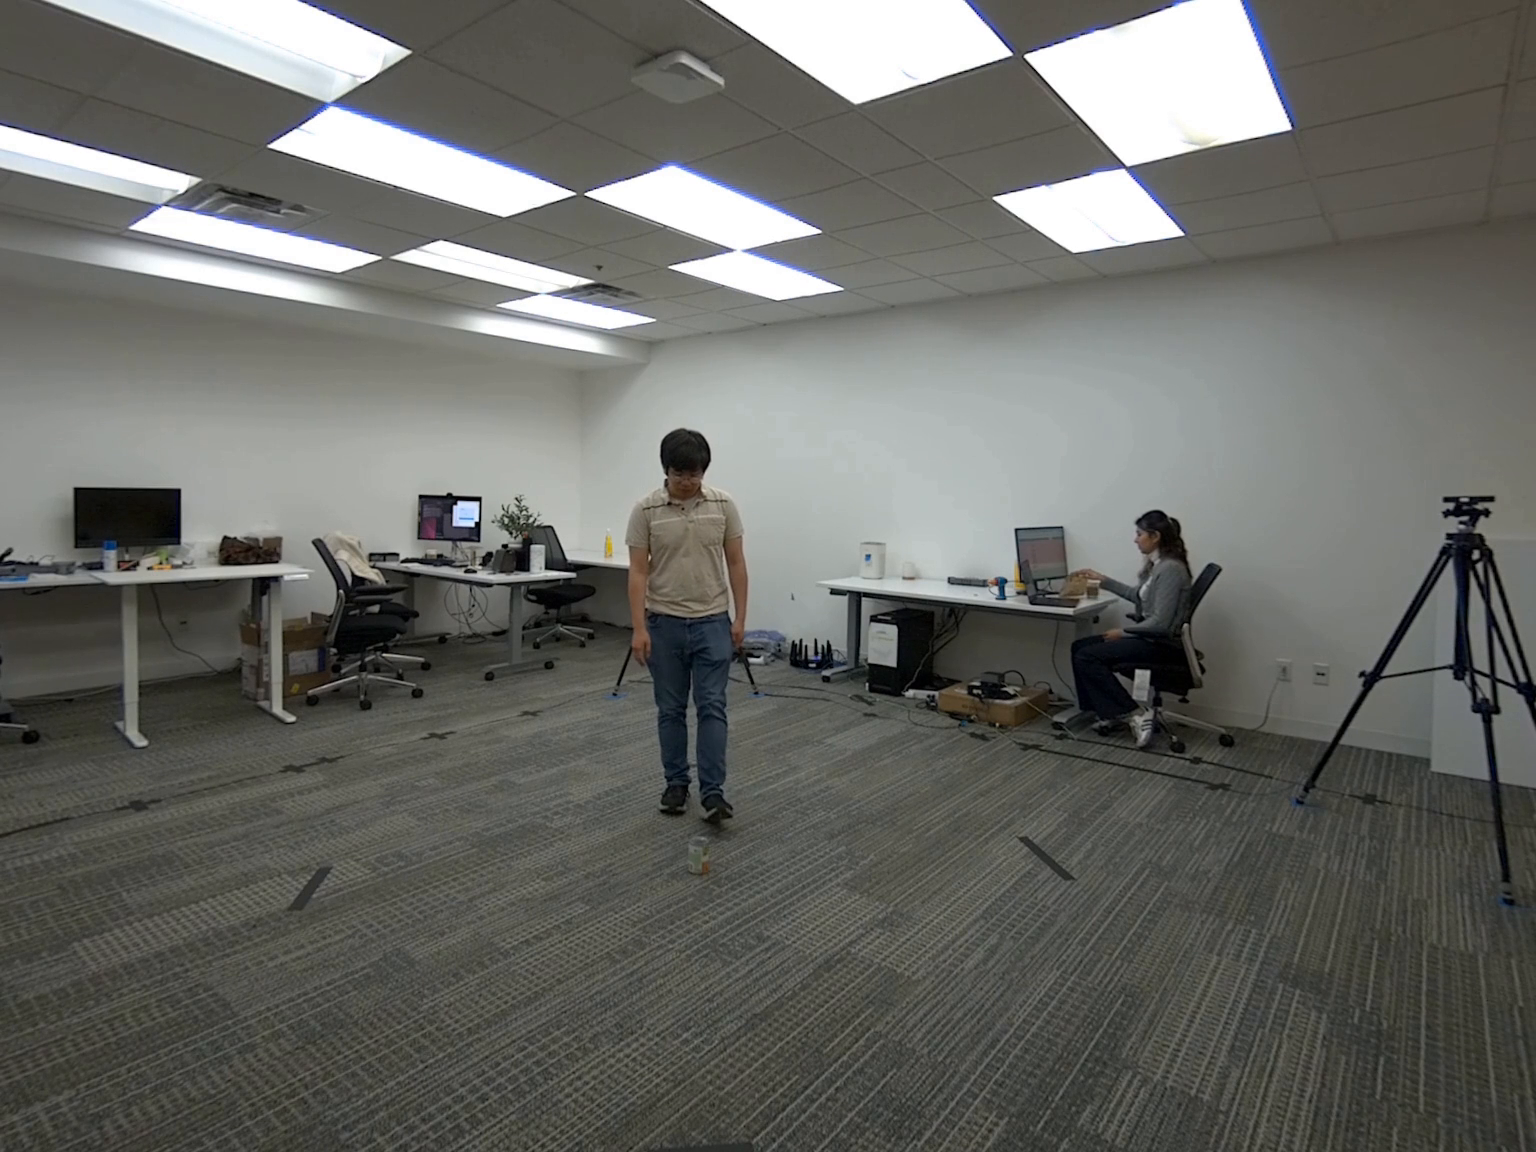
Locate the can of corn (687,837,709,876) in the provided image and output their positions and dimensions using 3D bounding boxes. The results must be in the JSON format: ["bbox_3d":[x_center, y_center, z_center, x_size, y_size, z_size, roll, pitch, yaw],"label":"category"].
[{"bbox_3d":[-0.270,1.022,3.093,0.074,0.111,0.074,-1,2,-2],"label":"can of corn"}]
